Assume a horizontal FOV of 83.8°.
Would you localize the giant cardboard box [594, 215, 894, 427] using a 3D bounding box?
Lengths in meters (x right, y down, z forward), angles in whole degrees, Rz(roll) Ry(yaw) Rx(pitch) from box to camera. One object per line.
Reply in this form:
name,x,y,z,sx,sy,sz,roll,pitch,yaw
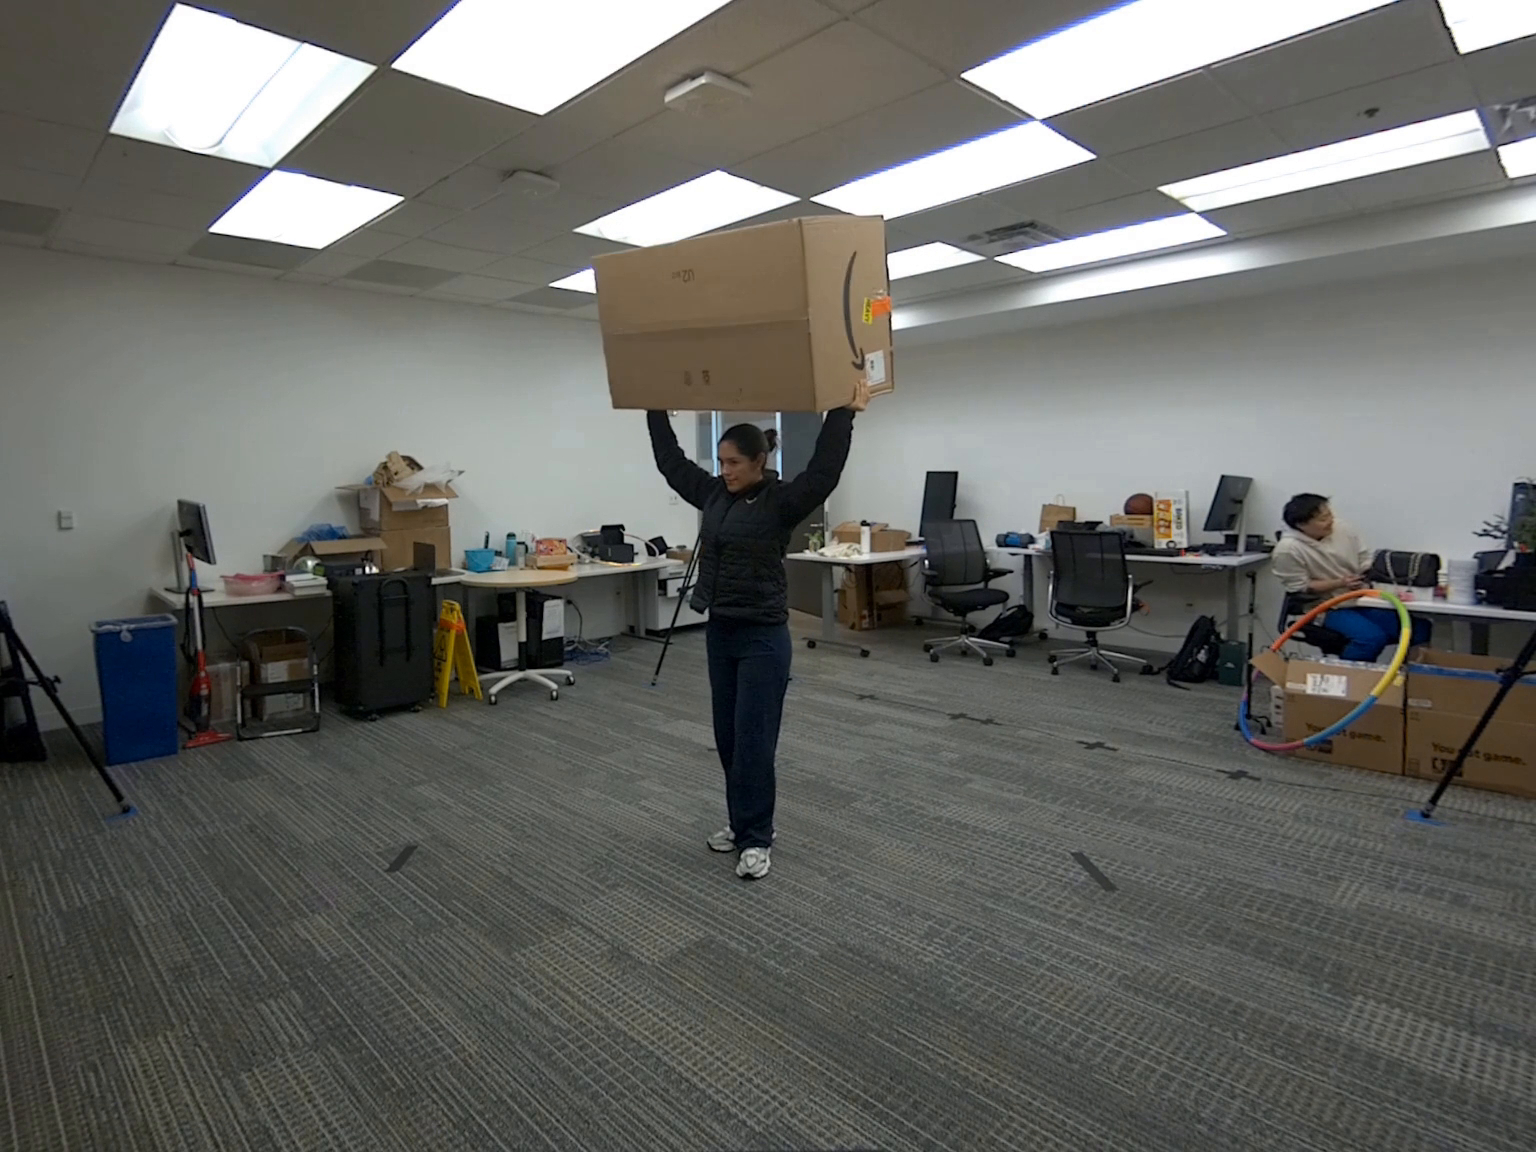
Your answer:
giant cardboard box,-0.112,-0.899,3.044,1.062,0.575,0.439,11,23,42
